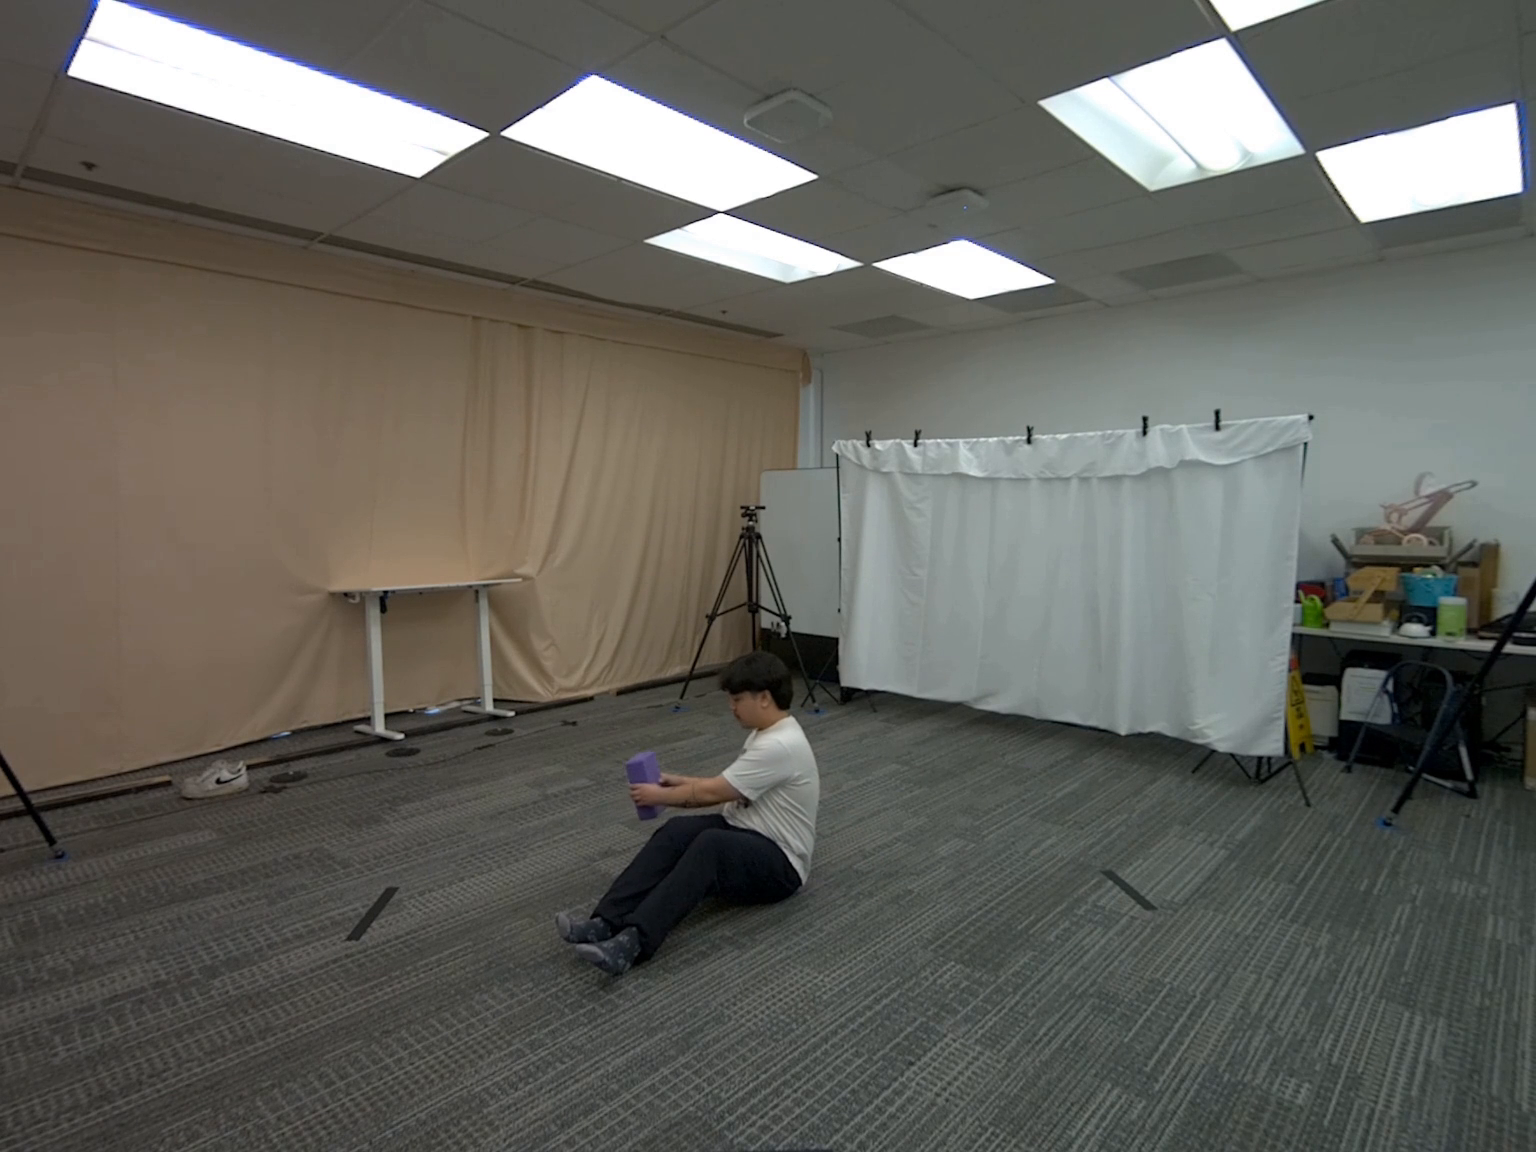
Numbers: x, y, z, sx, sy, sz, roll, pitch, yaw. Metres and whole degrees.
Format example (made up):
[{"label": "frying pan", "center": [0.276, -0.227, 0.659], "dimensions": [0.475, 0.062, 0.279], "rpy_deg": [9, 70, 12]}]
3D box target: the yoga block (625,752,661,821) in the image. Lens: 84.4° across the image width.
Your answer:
[{"label": "yoga block", "center": [-0.467, 0.815, 3.267], "dimensions": [0.077, 0.230, 0.147], "rpy_deg": [-14, -2, 11]}]
